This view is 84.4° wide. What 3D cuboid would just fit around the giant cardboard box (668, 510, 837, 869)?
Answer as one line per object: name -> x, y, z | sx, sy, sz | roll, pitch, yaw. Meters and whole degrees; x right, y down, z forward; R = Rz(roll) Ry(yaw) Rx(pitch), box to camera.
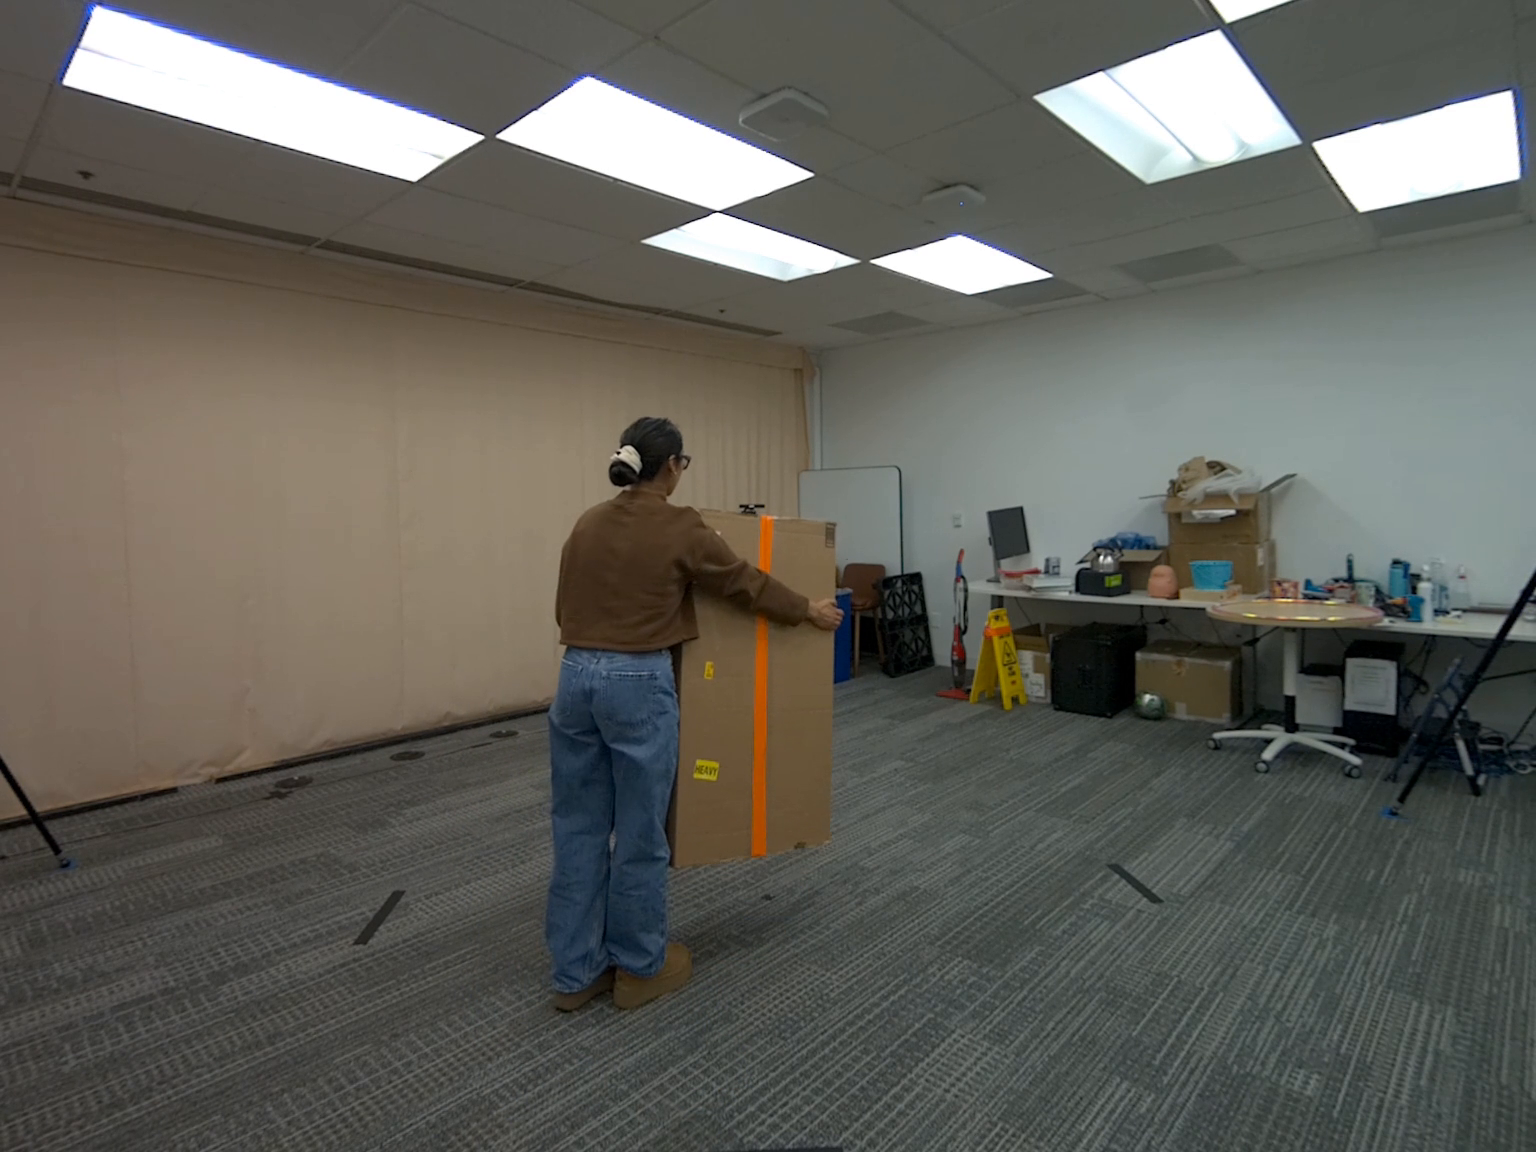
giant cardboard box -> -0.137, 0.336, 2.721 | 0.560, 1.029, 0.438 | 5, -6, -34
